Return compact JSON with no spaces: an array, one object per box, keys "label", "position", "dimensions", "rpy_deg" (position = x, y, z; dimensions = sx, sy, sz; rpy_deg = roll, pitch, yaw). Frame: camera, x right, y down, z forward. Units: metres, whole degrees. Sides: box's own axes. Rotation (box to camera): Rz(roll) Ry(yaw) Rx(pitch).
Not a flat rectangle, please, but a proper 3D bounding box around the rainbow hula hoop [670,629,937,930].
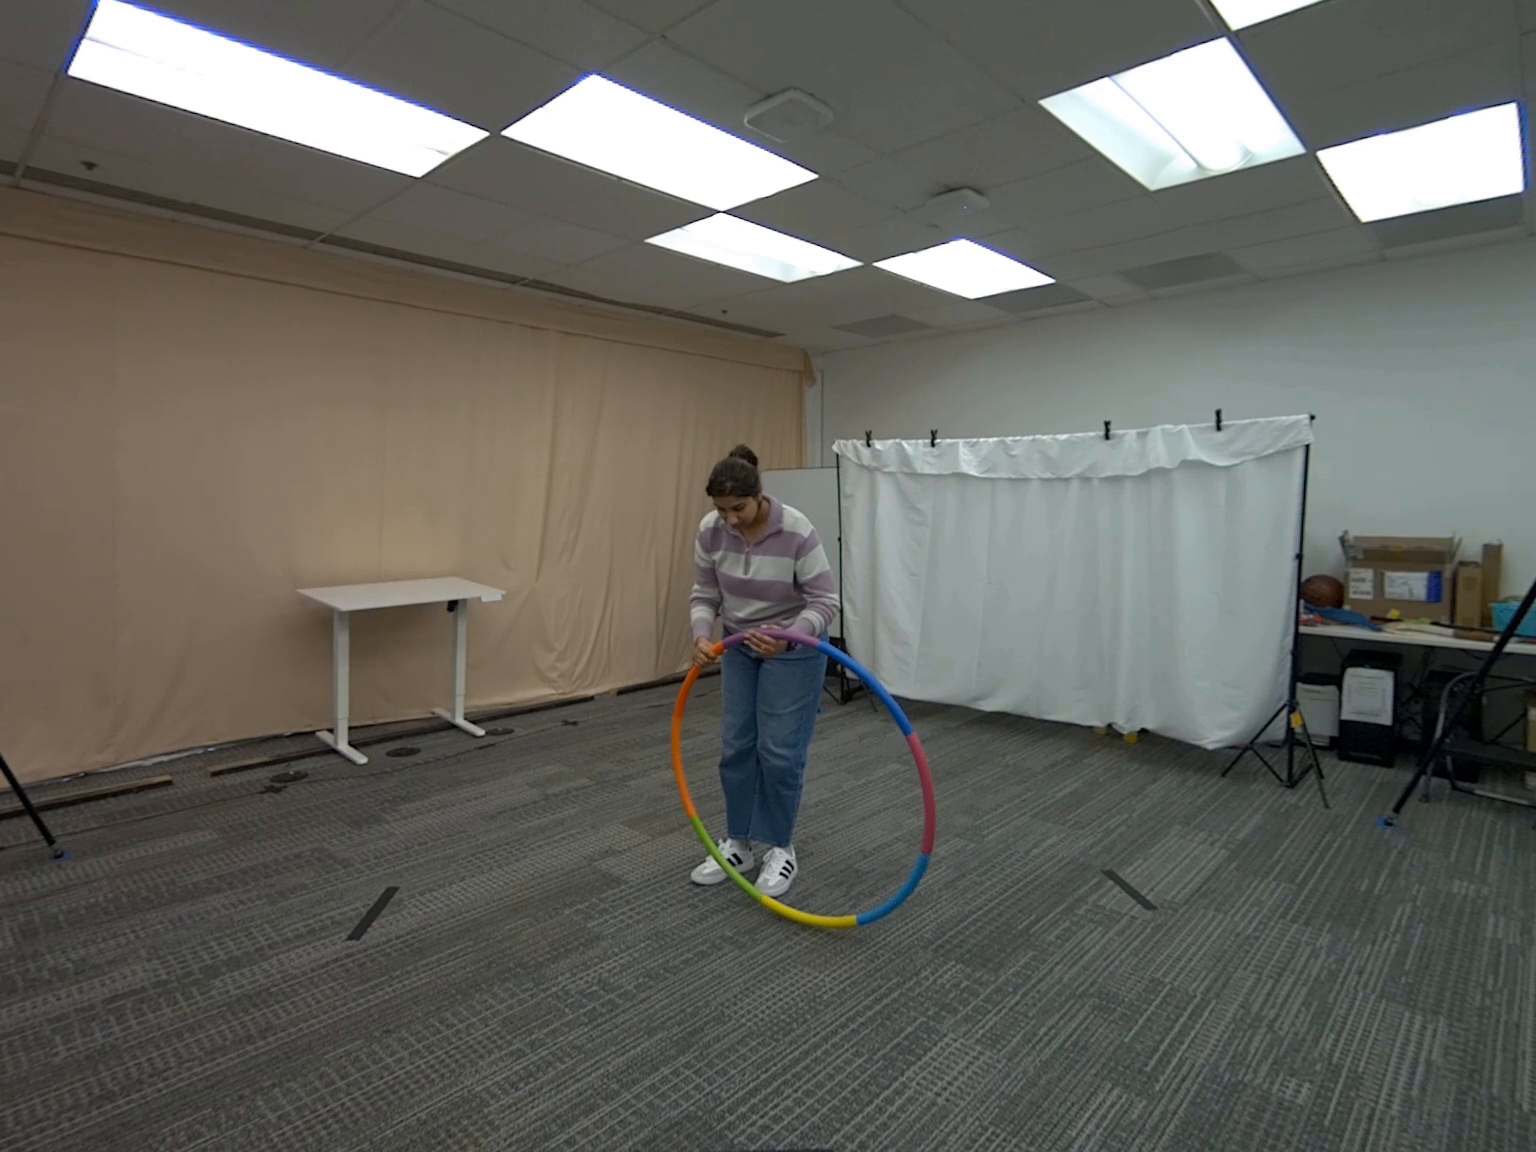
[{"label":"rainbow hula hoop","position":[0.077,0.665,2.725],"dimensions":[1.016,0.980,0.050],"rpy_deg":[3,9,35]}]
